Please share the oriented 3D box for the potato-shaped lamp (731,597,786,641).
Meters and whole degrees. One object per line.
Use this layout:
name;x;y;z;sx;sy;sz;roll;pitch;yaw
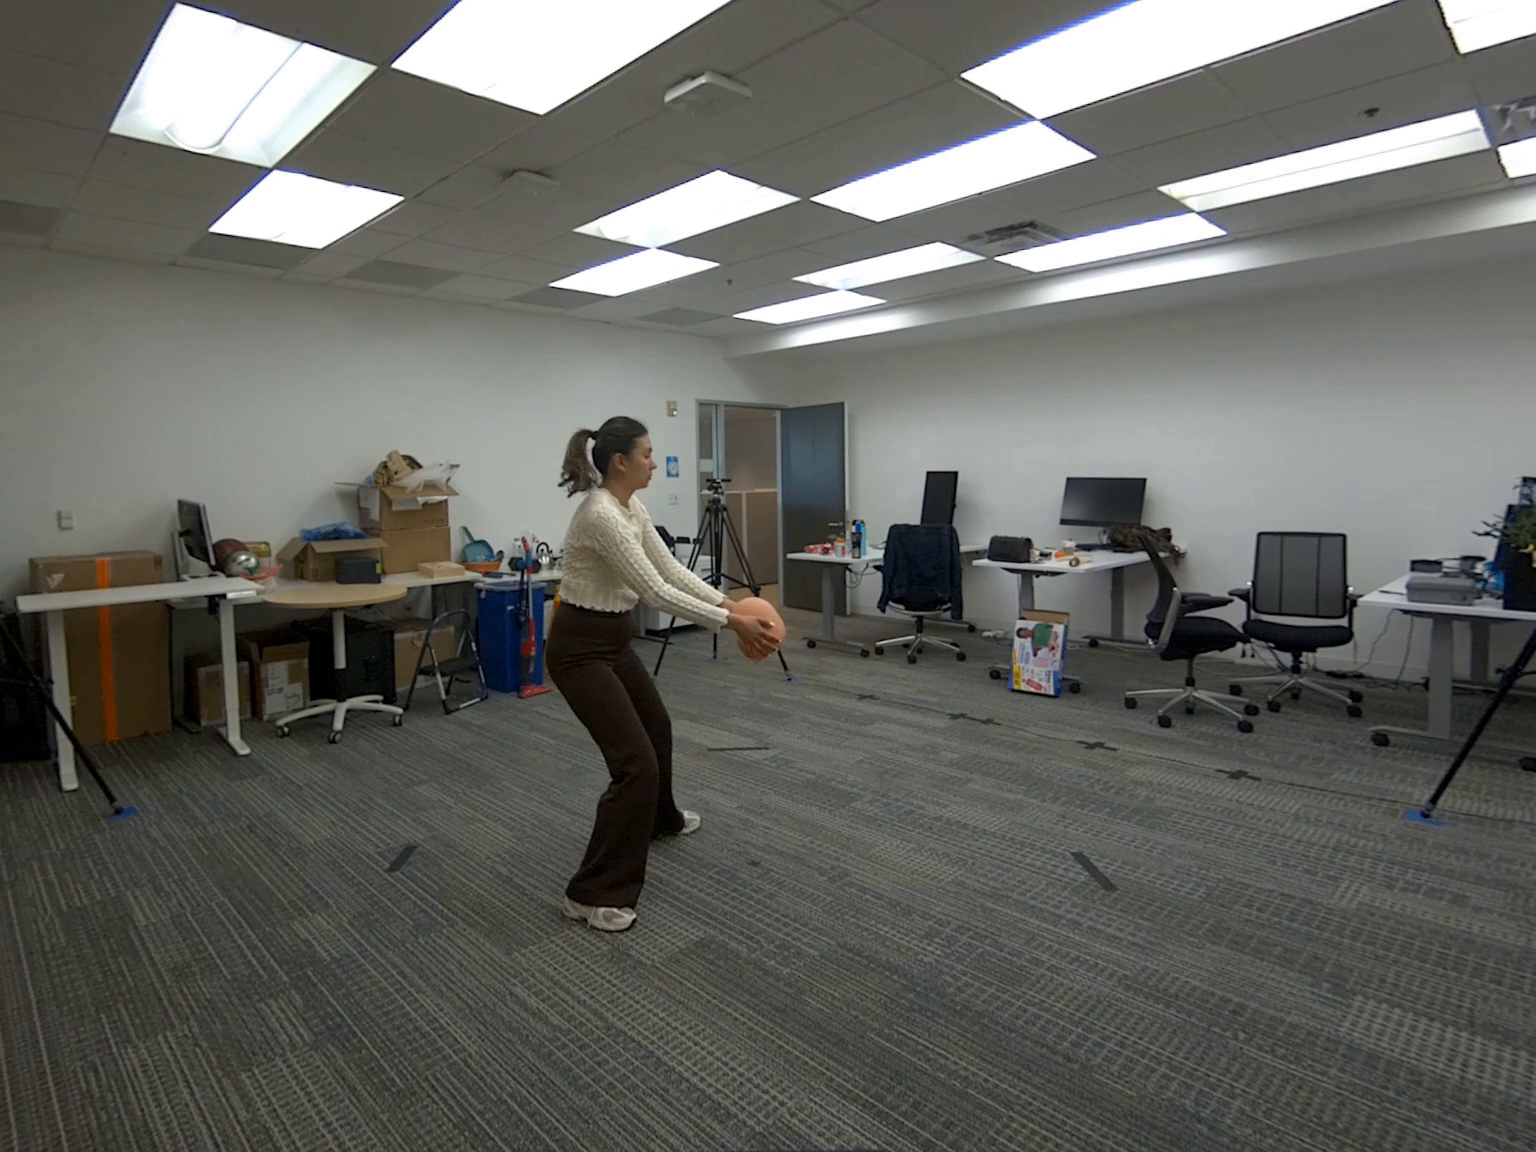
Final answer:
potato-shaped lamp;-0.047;0.177;2.861;0.171;0.198;0.165;-35;2;0
